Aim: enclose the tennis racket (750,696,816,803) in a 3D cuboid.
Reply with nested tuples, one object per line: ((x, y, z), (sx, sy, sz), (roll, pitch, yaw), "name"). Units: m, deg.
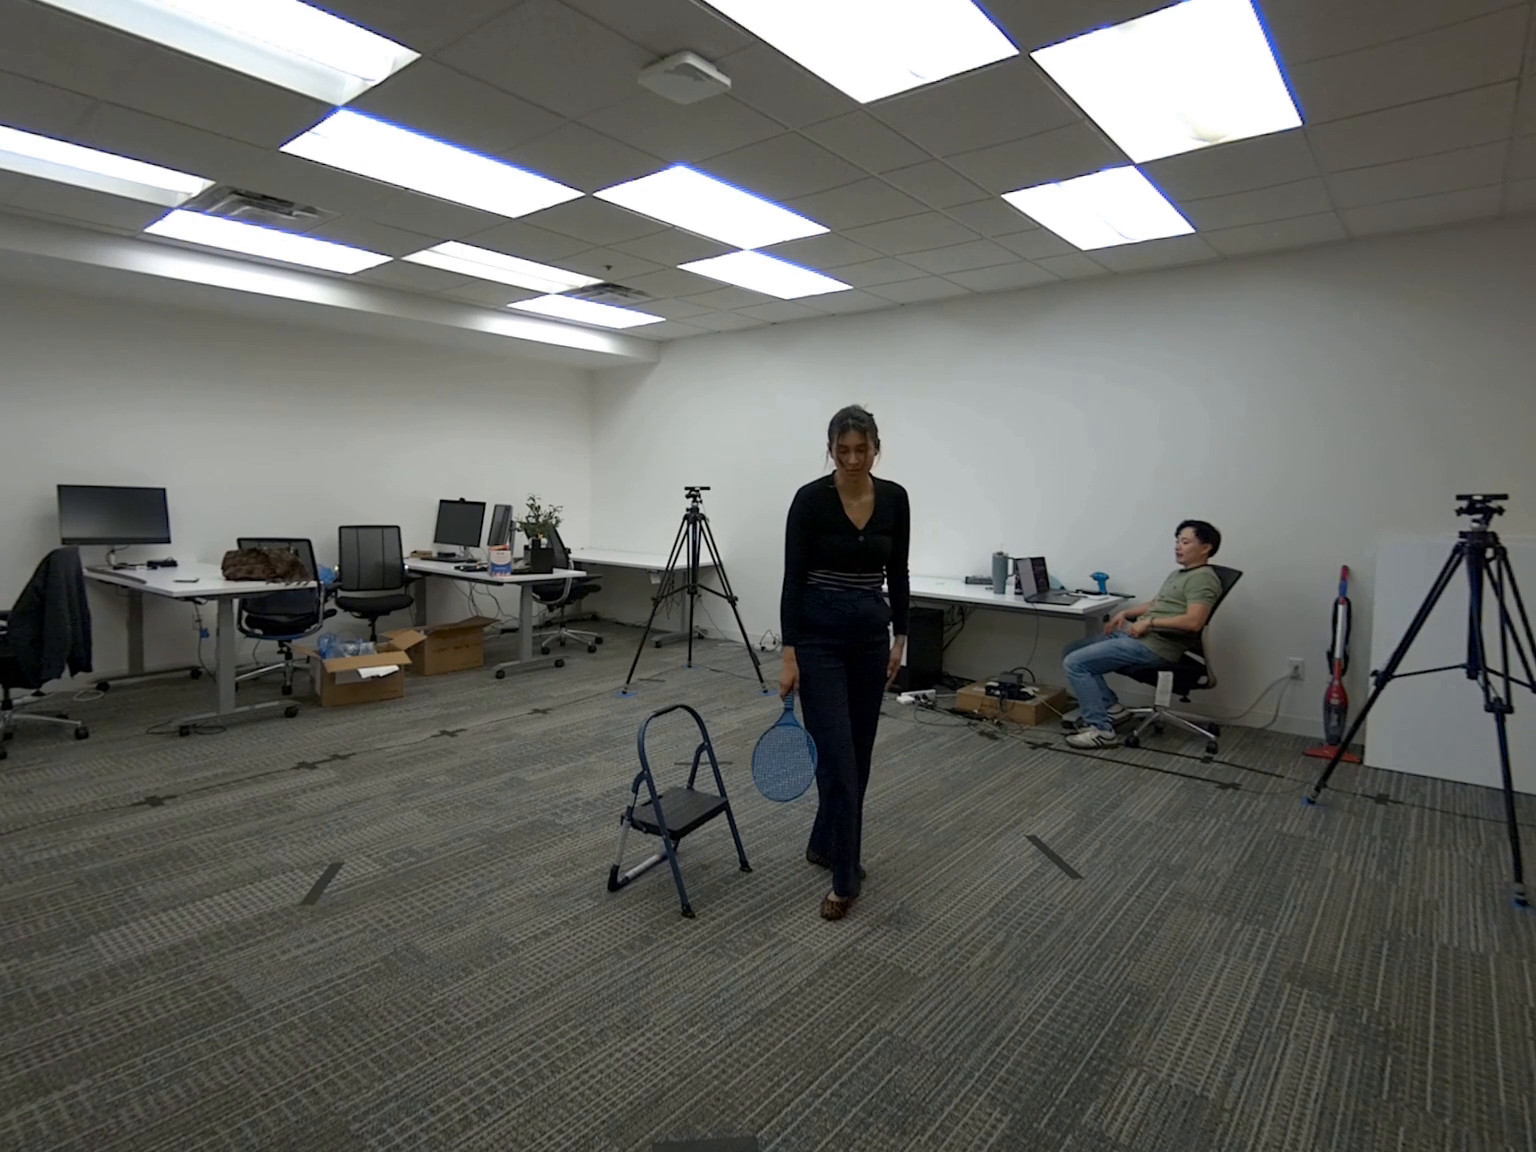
((0.070, 0.524, 2.772), (0.217, 0.443, 0.030), (-4, -37, 13), "tennis racket")
